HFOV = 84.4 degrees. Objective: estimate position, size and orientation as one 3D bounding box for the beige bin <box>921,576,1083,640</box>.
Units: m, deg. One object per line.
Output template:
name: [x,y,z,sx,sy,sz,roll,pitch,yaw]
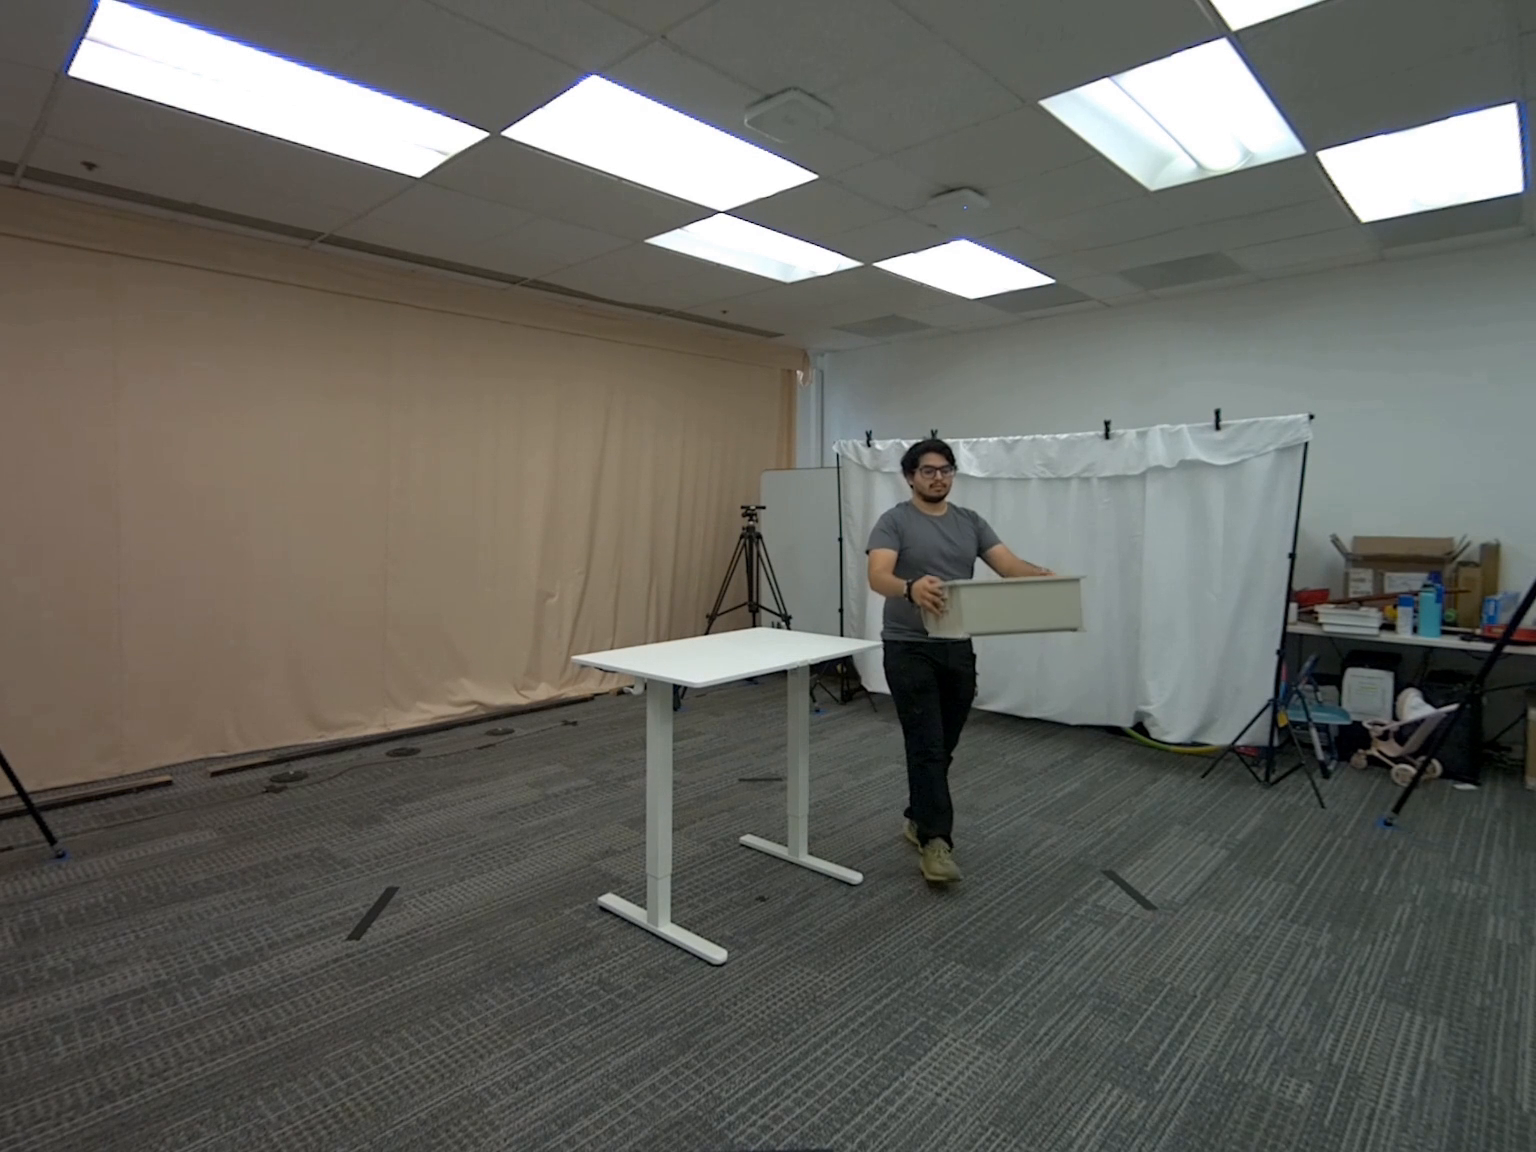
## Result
beige bin: [0.767,0.109,2.800,0.420,0.189,0.379,-3,-1,-6]
